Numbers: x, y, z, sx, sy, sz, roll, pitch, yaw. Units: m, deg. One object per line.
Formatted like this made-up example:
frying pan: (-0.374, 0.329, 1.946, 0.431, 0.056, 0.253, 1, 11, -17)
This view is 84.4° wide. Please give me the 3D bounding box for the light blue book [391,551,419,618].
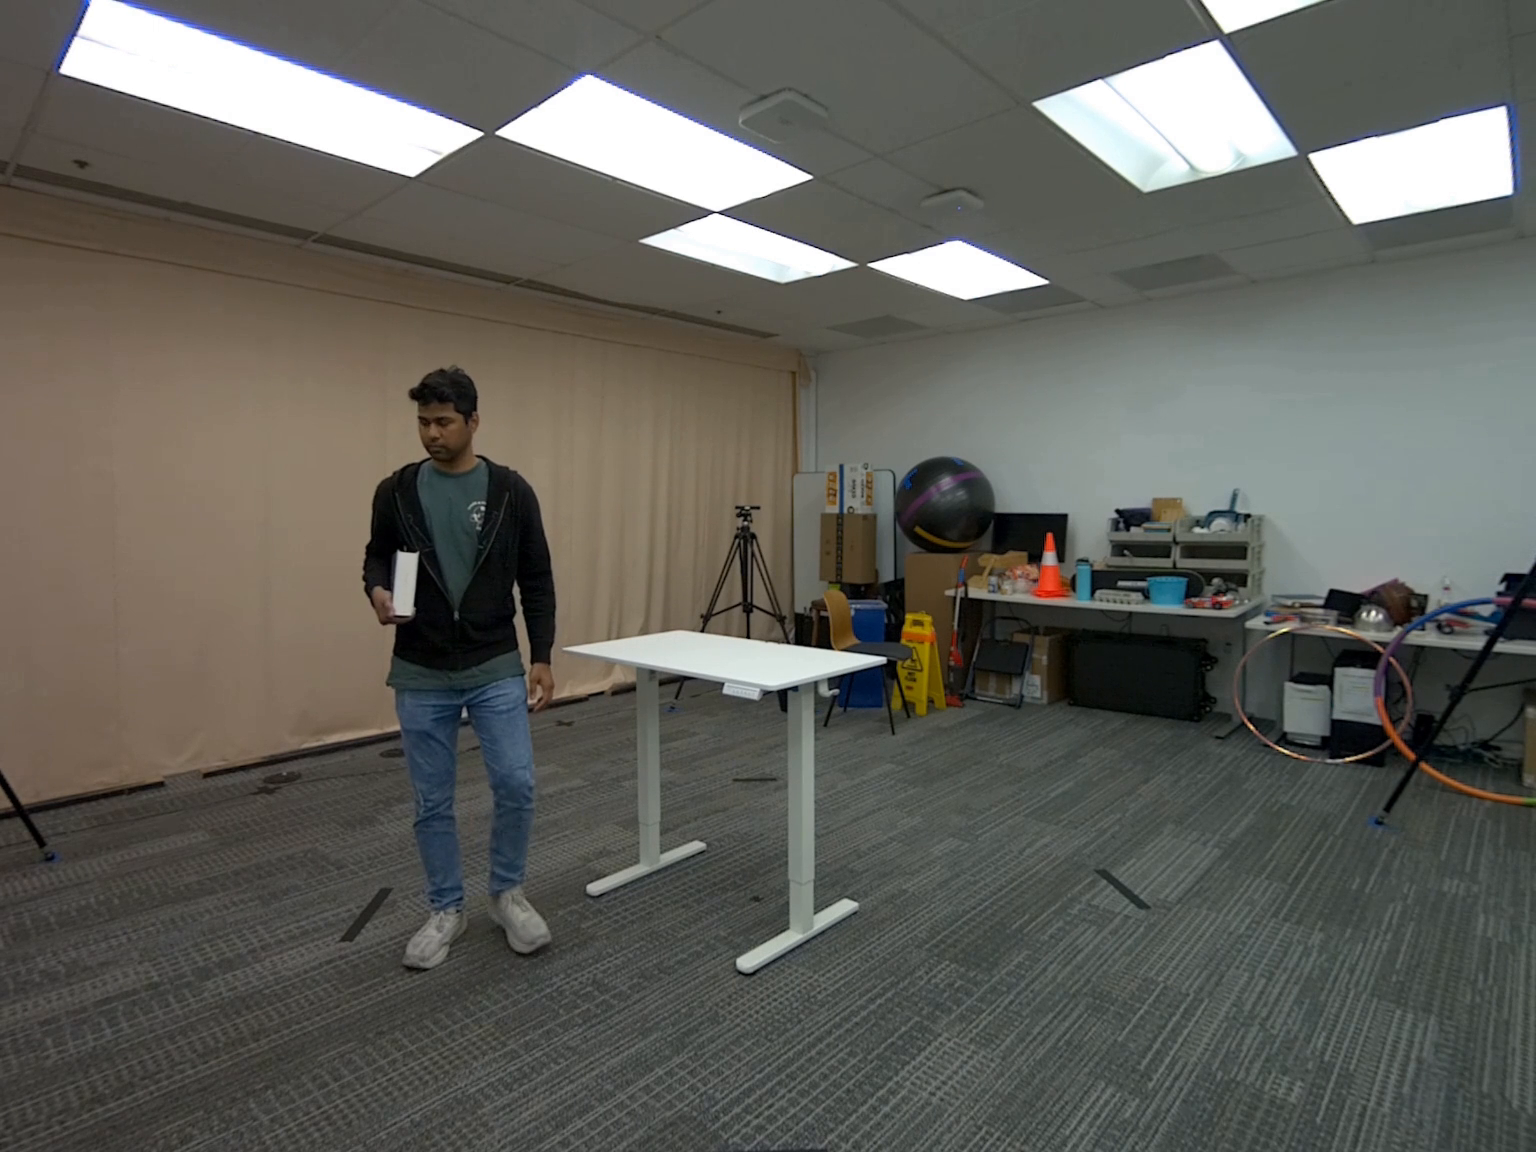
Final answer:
light blue book: (-1.099, 0.031, 2.560, 0.057, 0.192, 0.266, 7, -8, -24)
